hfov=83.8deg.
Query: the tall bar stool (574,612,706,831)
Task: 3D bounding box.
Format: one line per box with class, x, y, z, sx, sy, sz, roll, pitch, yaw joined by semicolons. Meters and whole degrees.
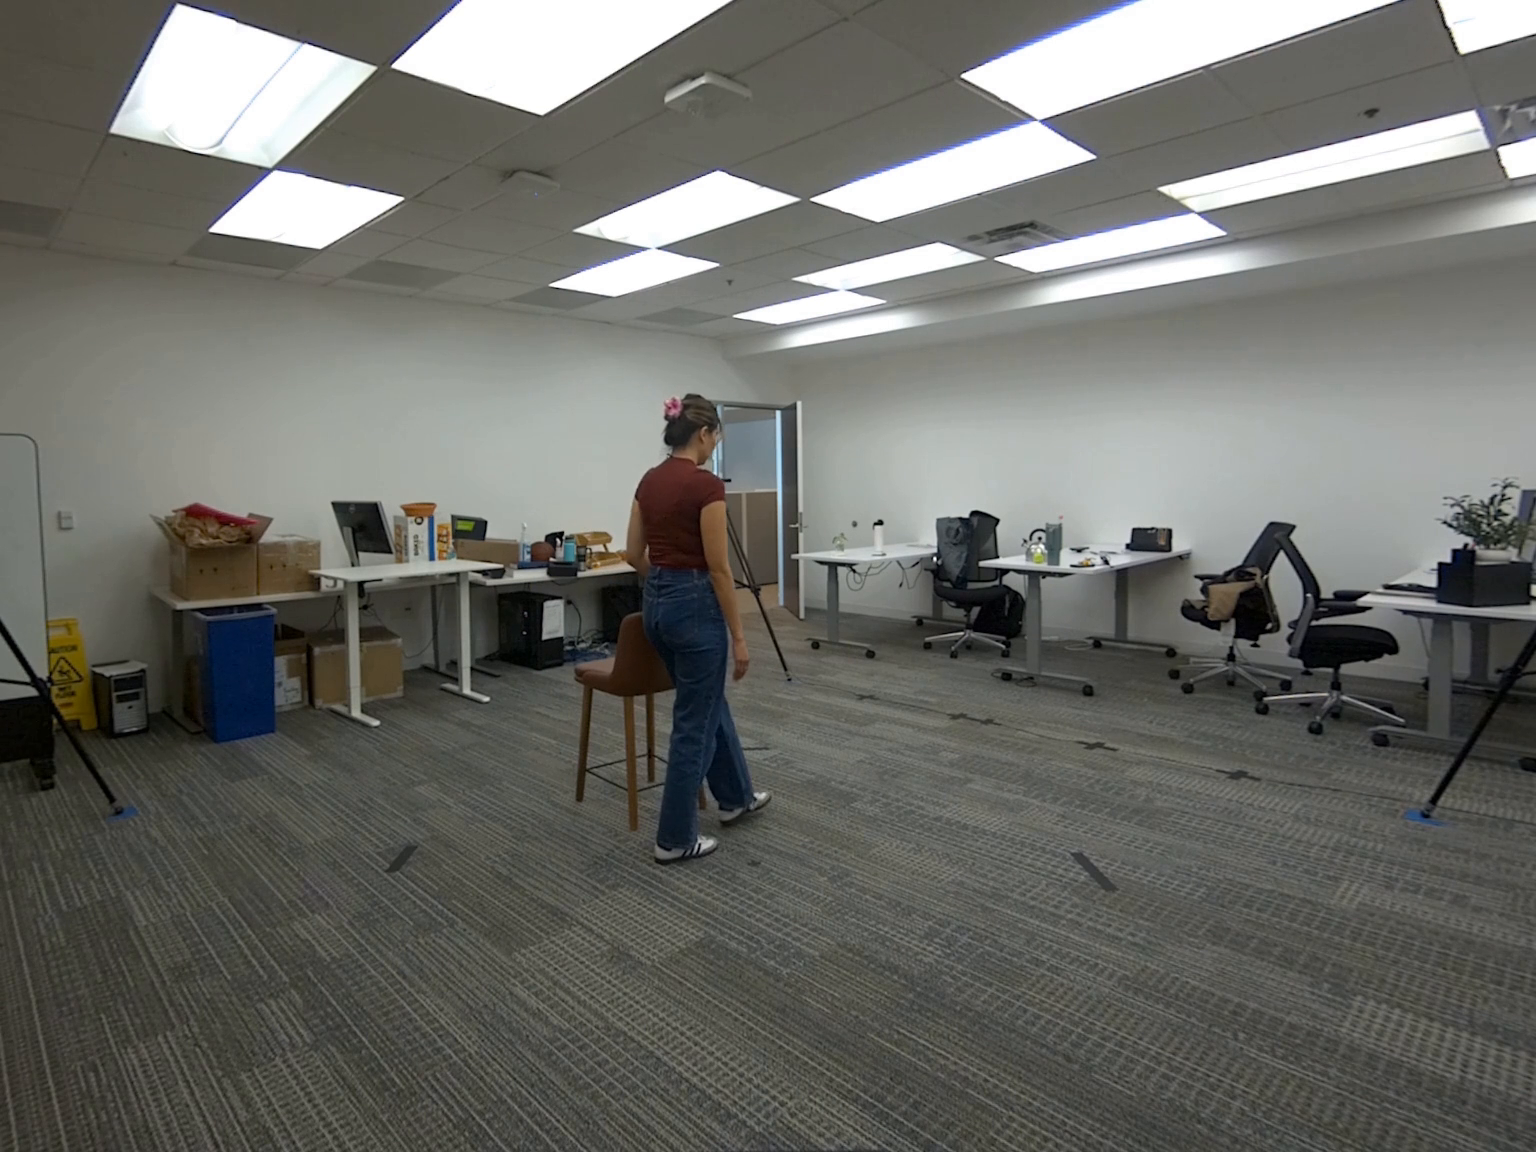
tall bar stool;-0.549;0.554;3.666;0.444;0.885;0.482;-4;7;-40
